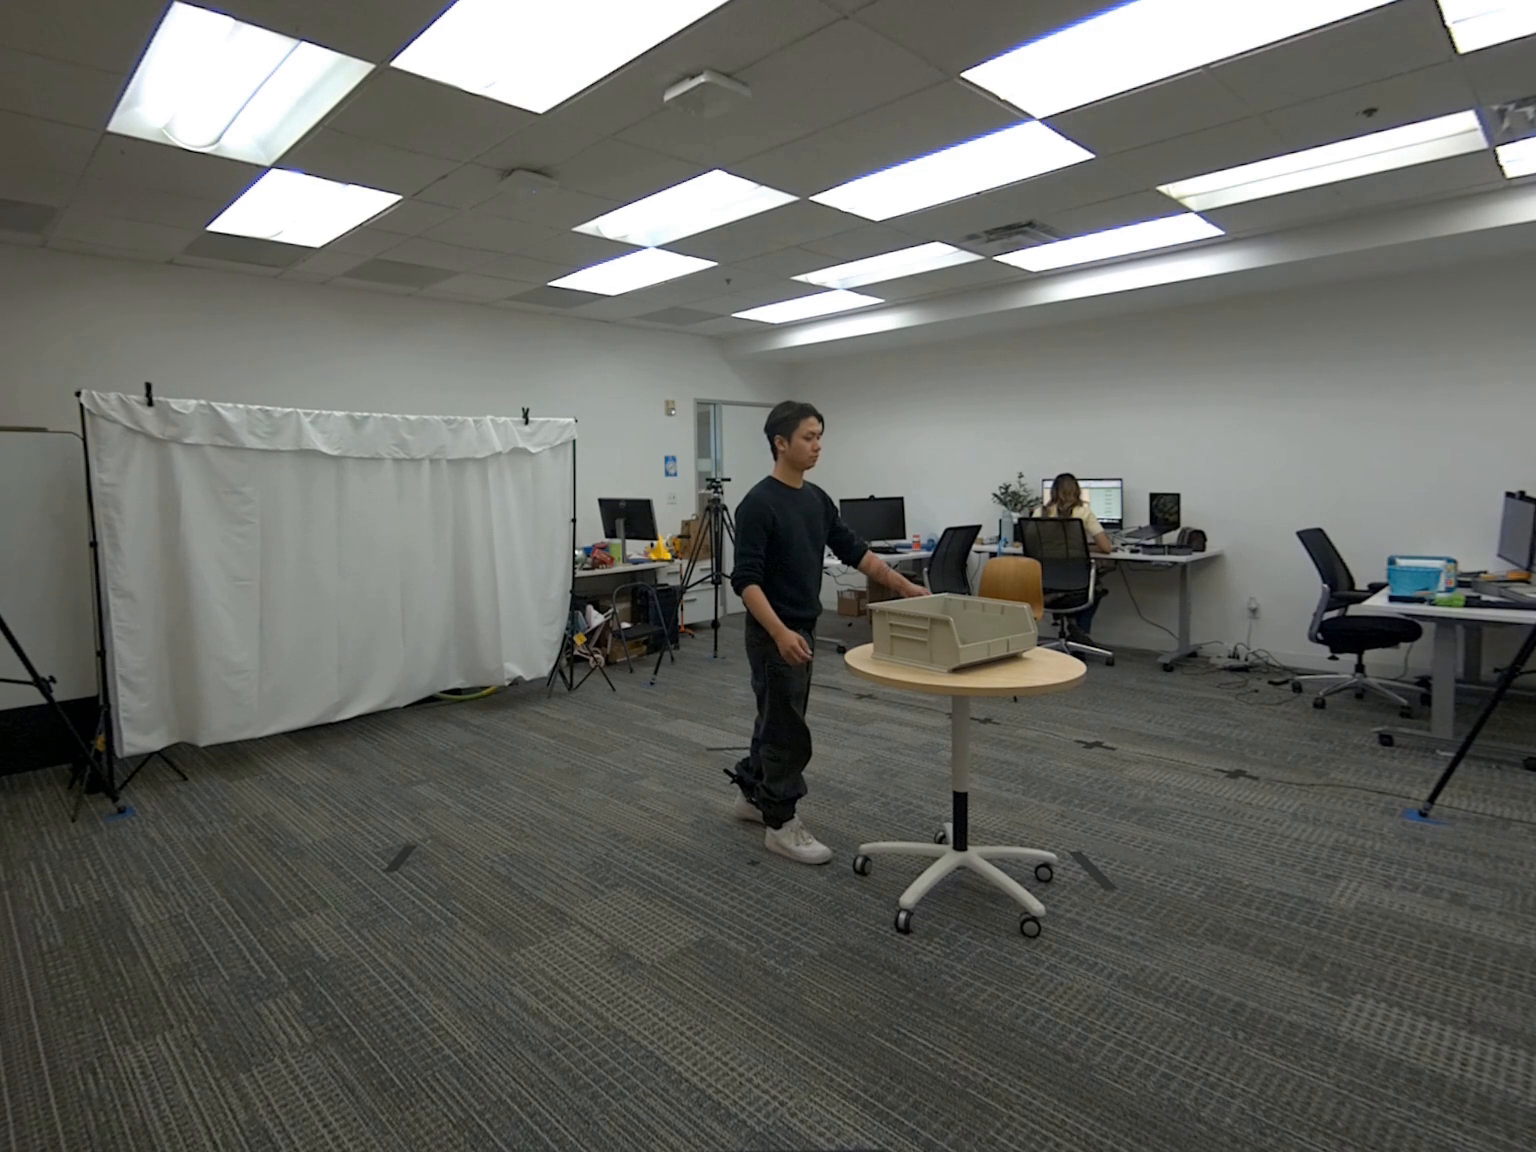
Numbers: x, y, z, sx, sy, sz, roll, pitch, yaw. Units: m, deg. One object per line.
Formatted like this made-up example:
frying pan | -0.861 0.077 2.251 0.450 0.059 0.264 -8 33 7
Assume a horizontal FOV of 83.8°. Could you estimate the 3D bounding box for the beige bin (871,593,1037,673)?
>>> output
beige bin | 0.624 0.186 2.845 0.412 0.188 0.388 -6 6 -37
